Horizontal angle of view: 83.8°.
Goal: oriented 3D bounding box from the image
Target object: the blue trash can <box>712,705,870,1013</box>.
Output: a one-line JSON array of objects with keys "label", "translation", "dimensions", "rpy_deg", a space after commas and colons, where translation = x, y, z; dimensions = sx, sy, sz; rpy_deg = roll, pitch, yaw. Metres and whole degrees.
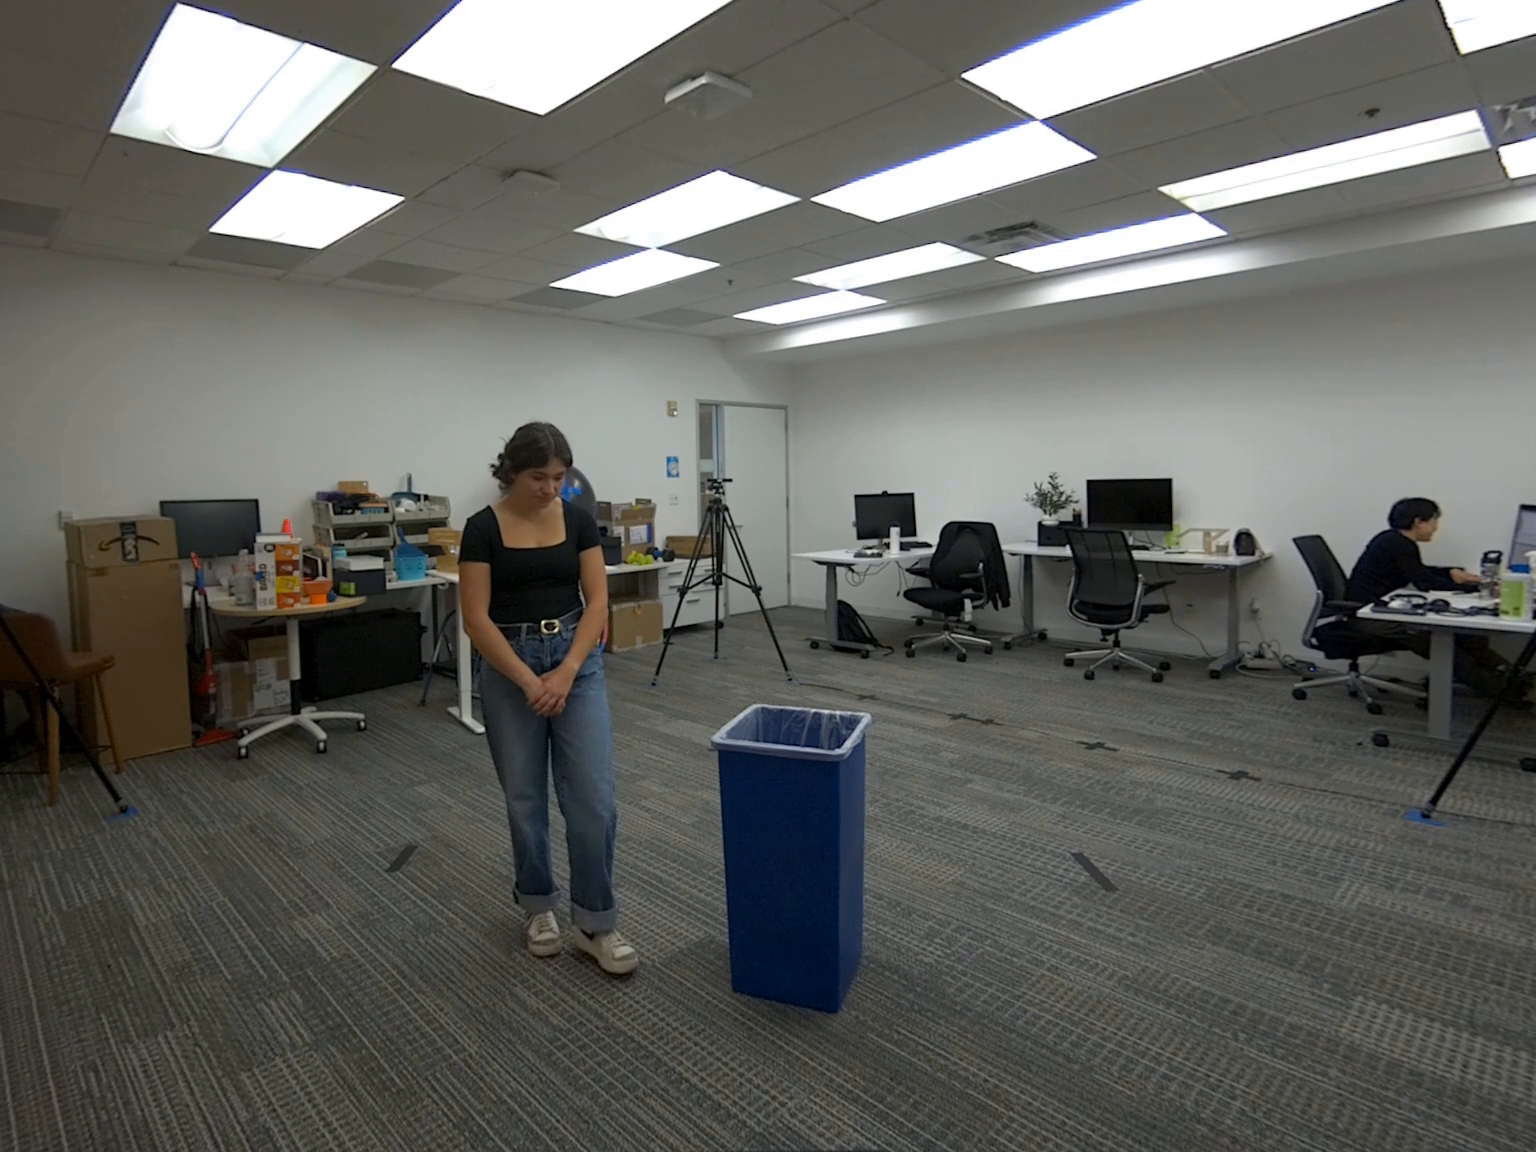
[{"label": "blue trash can", "translation": [0.083, 0.770, 2.389], "dimensions": [0.385, 0.711, 0.368], "rpy_deg": [0, 4, 20]}]
